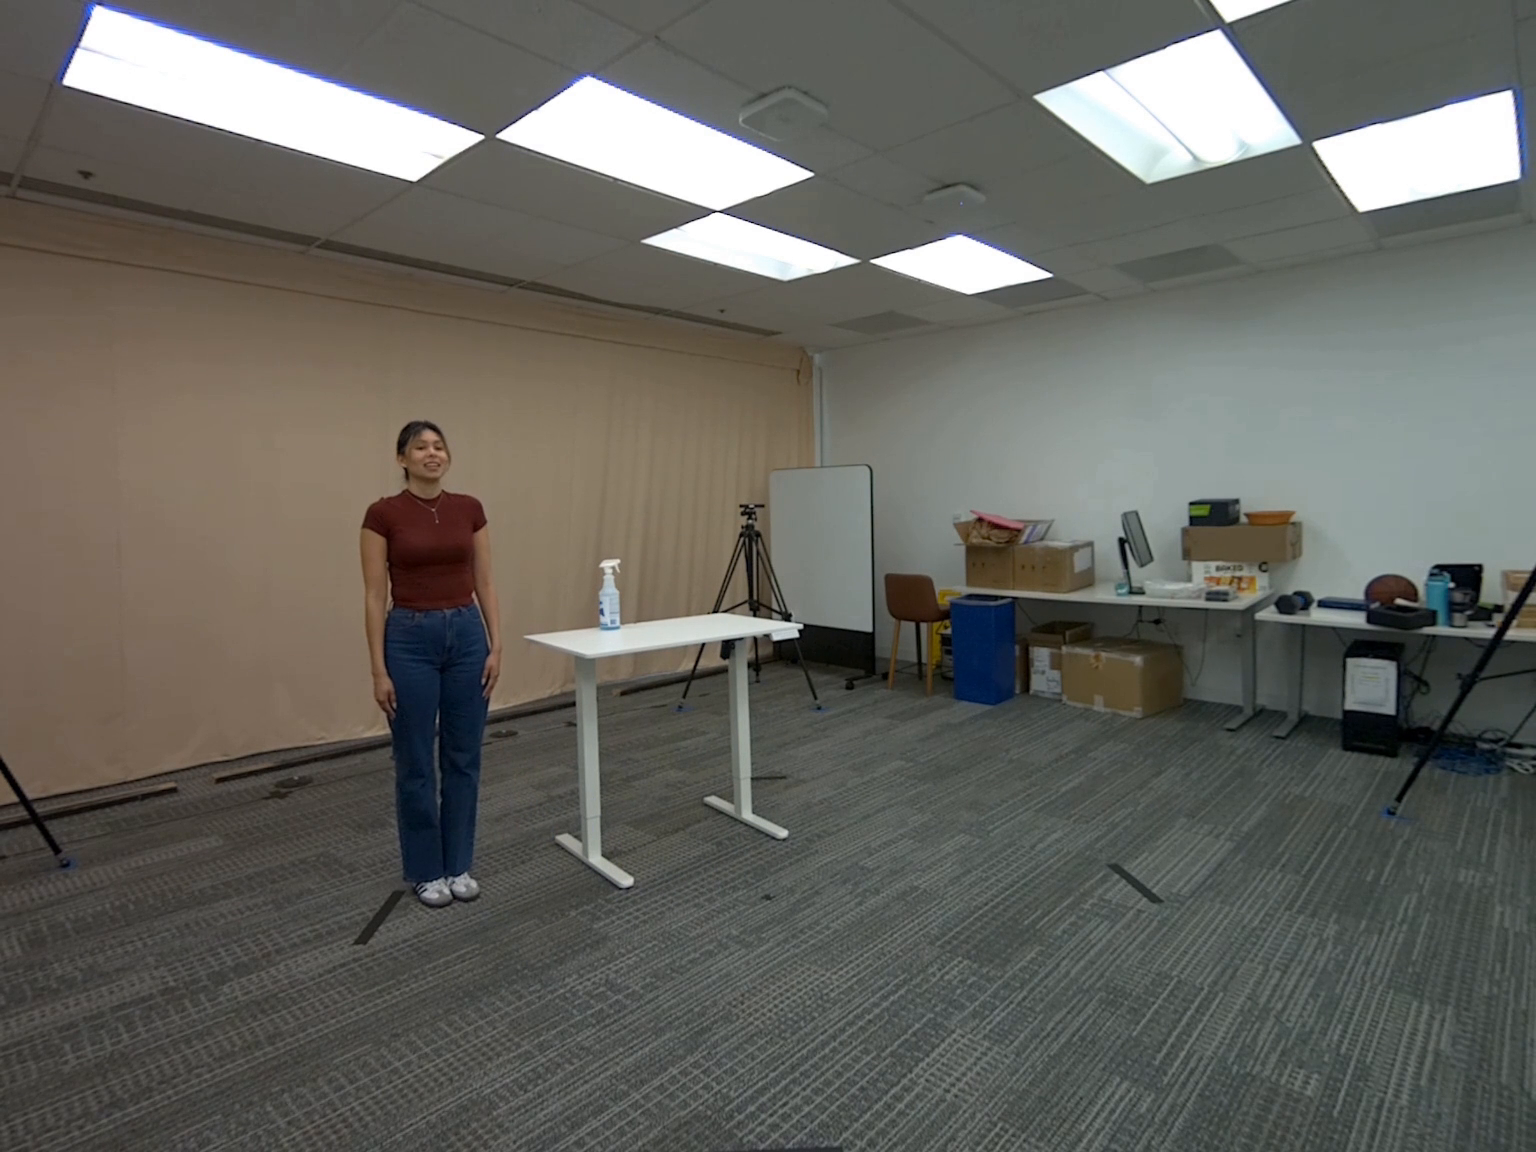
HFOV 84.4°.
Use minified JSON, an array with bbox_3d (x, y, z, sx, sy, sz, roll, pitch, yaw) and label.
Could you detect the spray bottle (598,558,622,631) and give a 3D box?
[{"bbox_3d":[-0.676,0.081,3.581,0.093,0.296,0.084,2,5,33],"label":"spray bottle"}]
